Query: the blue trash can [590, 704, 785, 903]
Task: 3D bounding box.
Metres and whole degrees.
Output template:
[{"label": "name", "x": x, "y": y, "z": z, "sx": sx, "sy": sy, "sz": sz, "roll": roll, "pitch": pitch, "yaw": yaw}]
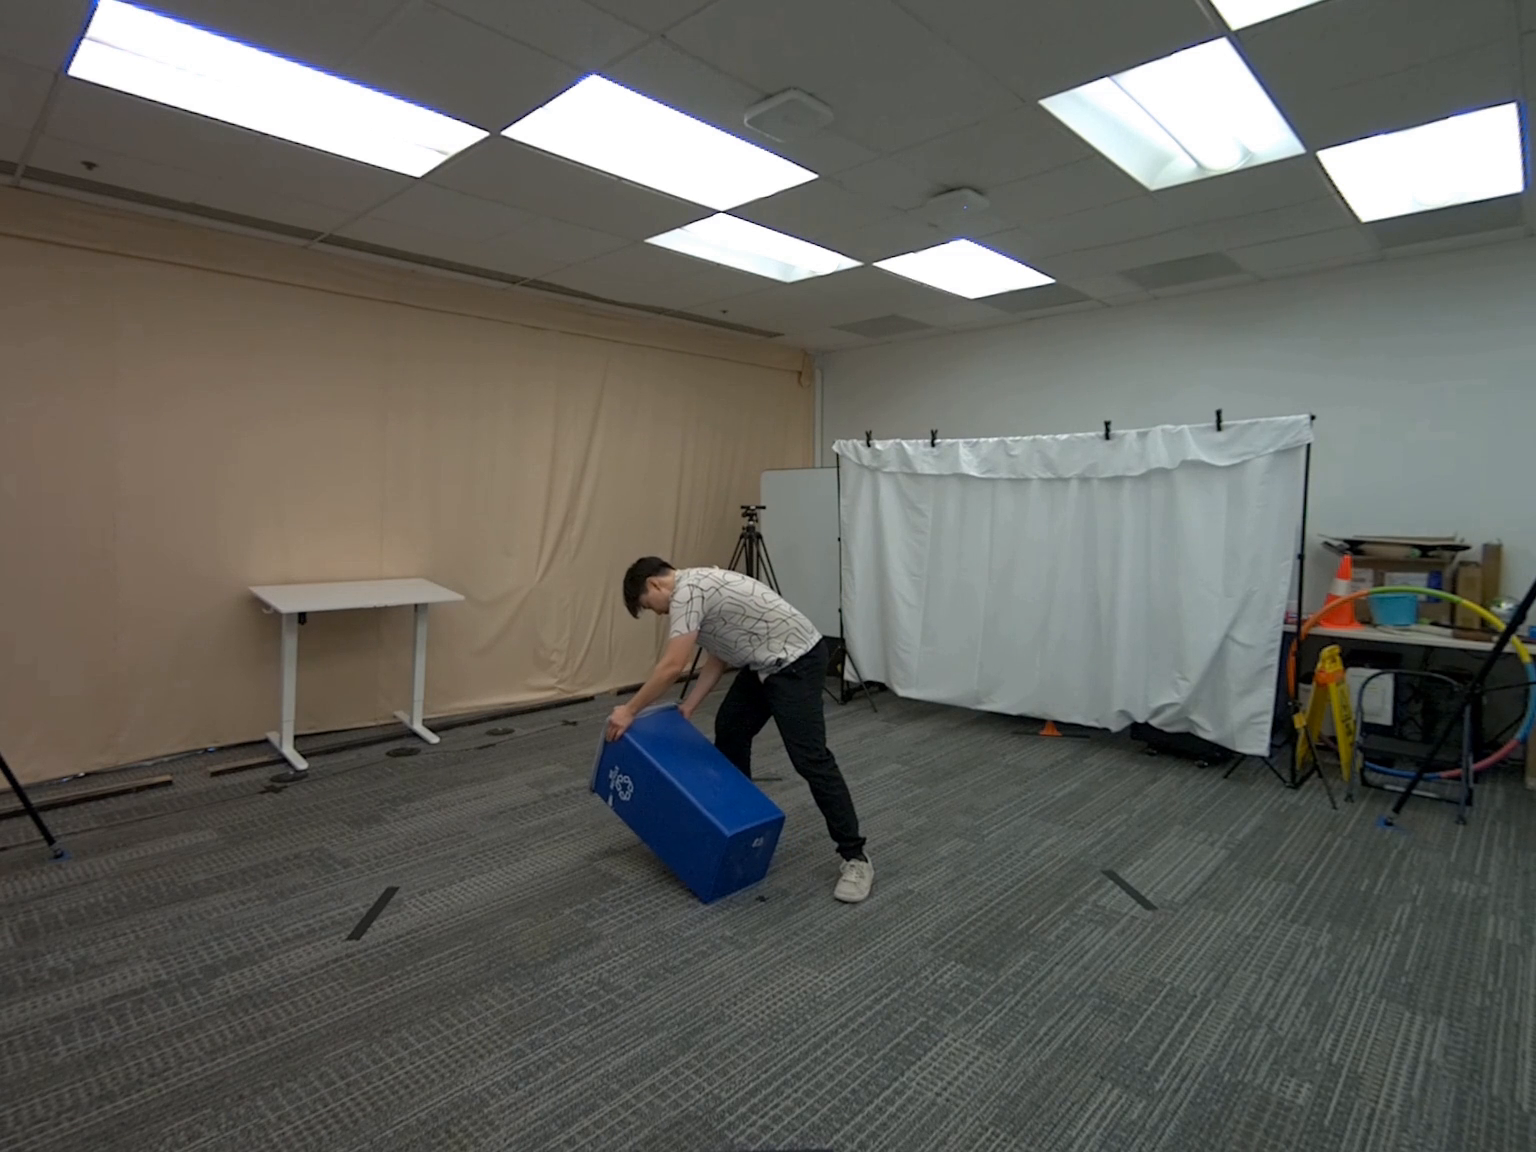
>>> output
[{"label": "blue trash can", "x": -0.309, "y": 0.847, "z": 3.210, "sx": 0.362, "sy": 0.376, "sz": 0.740, "roll": -2, "pitch": 26, "yaw": -45}]
